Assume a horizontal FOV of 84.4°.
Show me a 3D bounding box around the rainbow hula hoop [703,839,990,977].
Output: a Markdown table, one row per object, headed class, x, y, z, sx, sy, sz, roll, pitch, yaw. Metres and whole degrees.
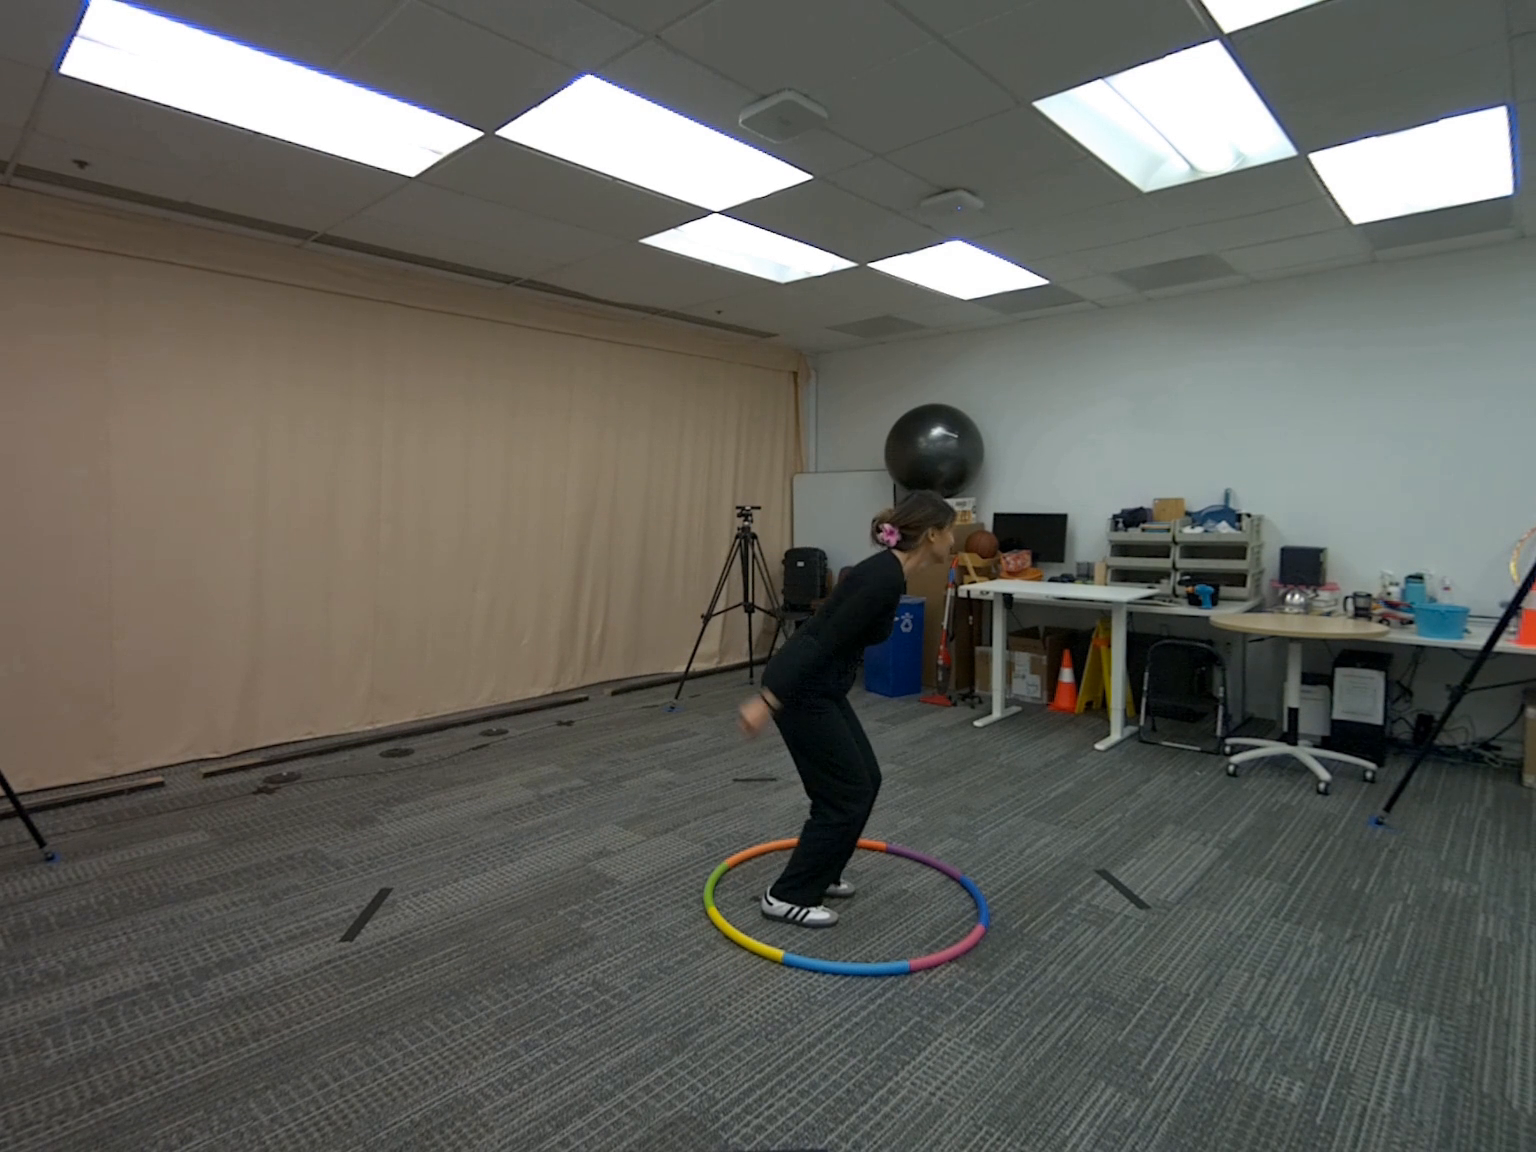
| class | x | y | z | sx | sy | sz | roll | pitch | yaw |
| --- | --- | --- | --- | --- | --- | --- | --- | --- | --- |
| rainbow hula hoop | 0.263 | 1.117 | 2.971 | 0.978 | 0.035 | 0.982 | 0 | 5 | -2 |
